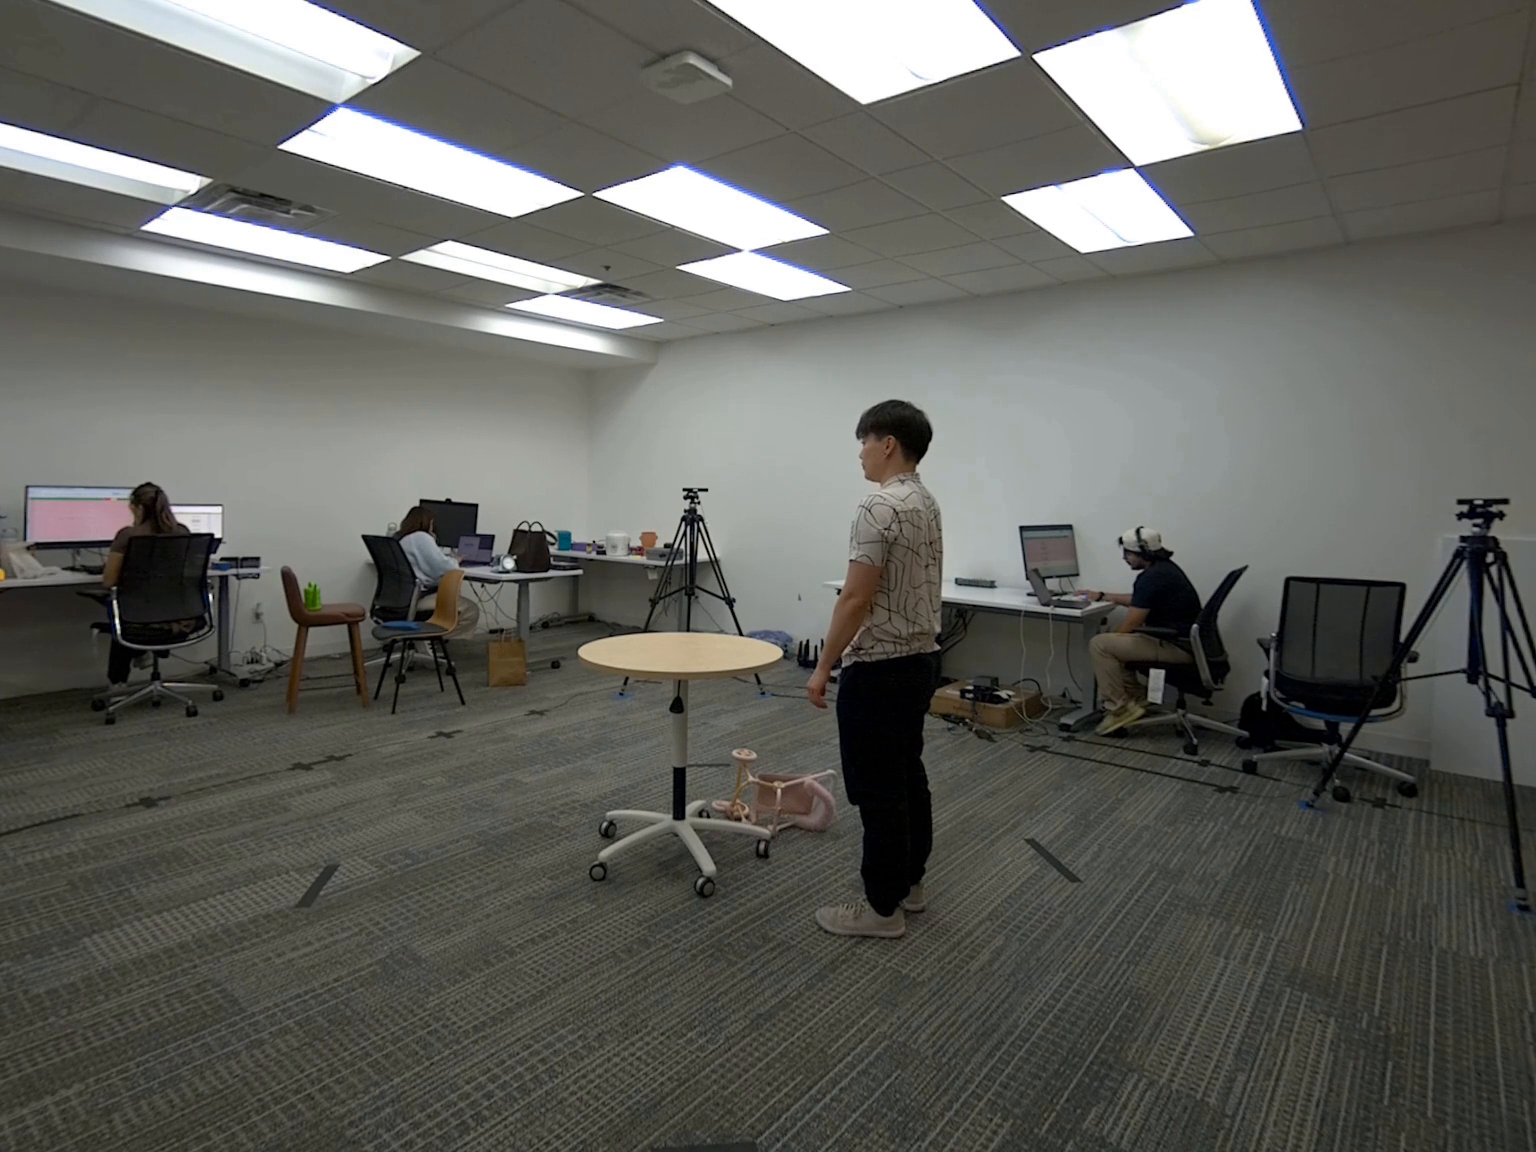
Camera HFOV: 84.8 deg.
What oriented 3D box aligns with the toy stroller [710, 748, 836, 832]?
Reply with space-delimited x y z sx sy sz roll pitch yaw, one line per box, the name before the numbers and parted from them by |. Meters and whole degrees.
toy stroller | 0.032 0.915 3.508 0.535 0.280 0.343 8 6 0
